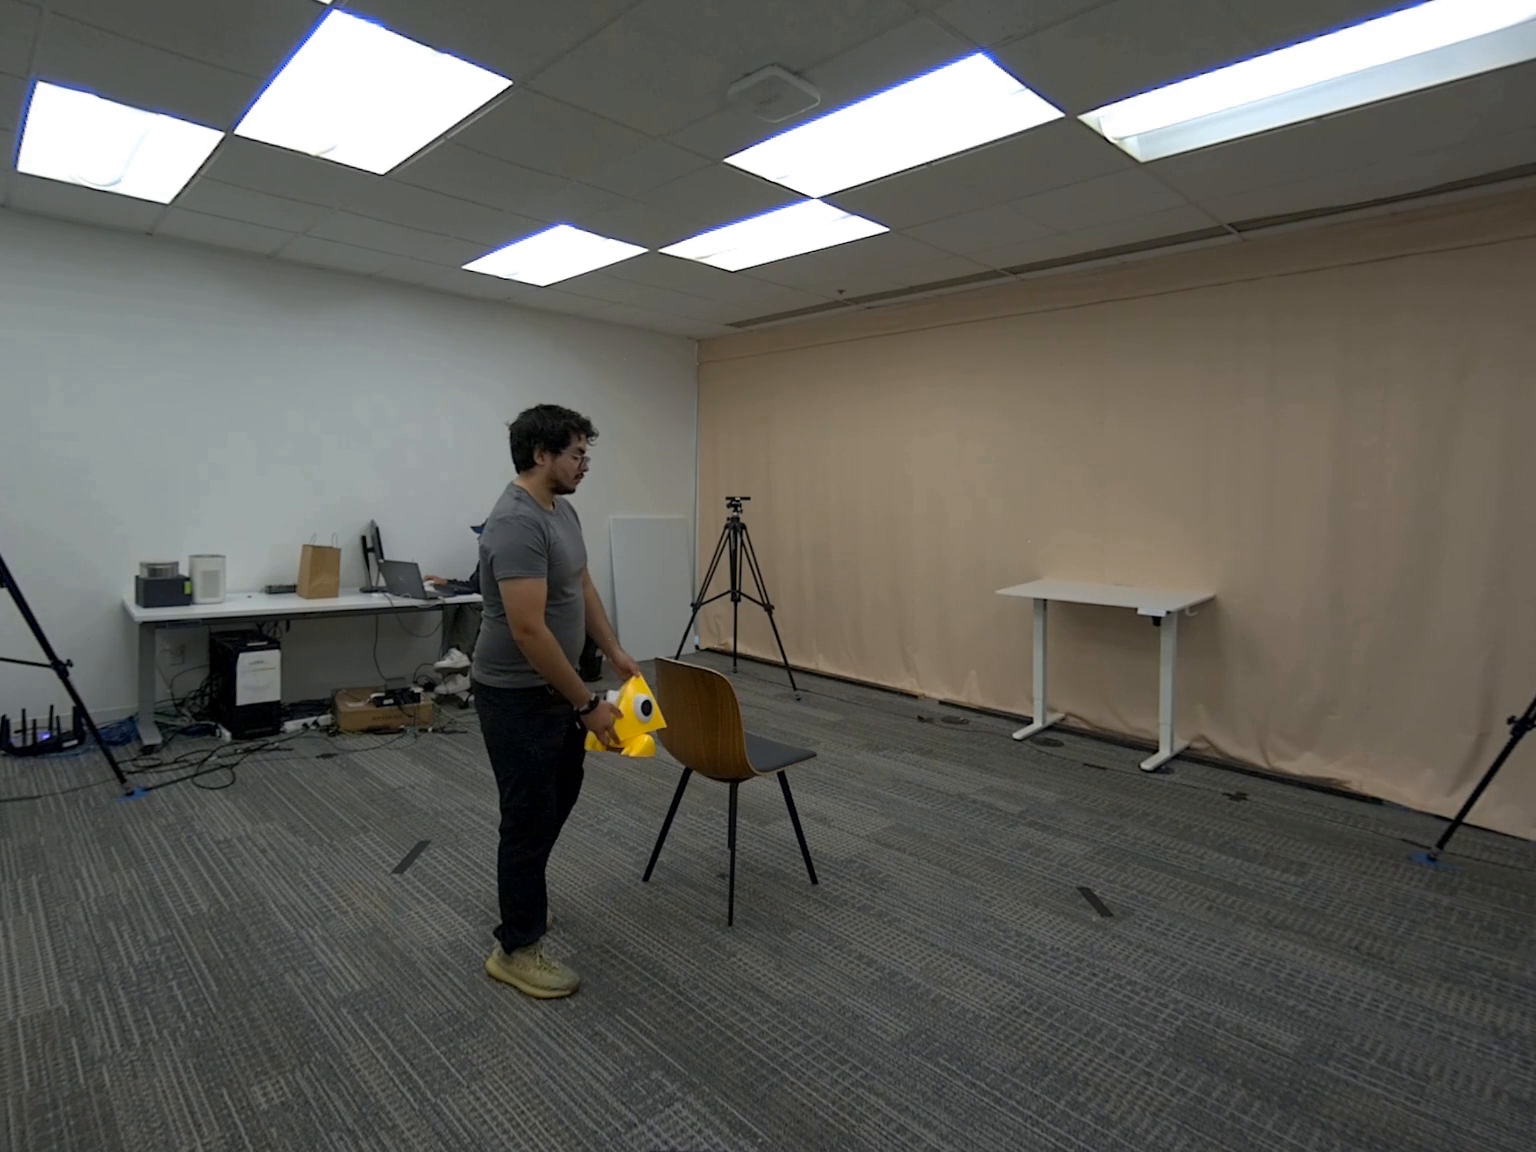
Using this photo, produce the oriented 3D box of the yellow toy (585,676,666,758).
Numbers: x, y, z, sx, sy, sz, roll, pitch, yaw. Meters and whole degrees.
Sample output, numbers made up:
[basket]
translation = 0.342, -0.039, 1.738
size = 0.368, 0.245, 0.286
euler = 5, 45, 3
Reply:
[yellow toy]
translation = -0.428, 0.397, 2.415
size = 0.207, 0.232, 0.190
euler = 4, -10, 12
